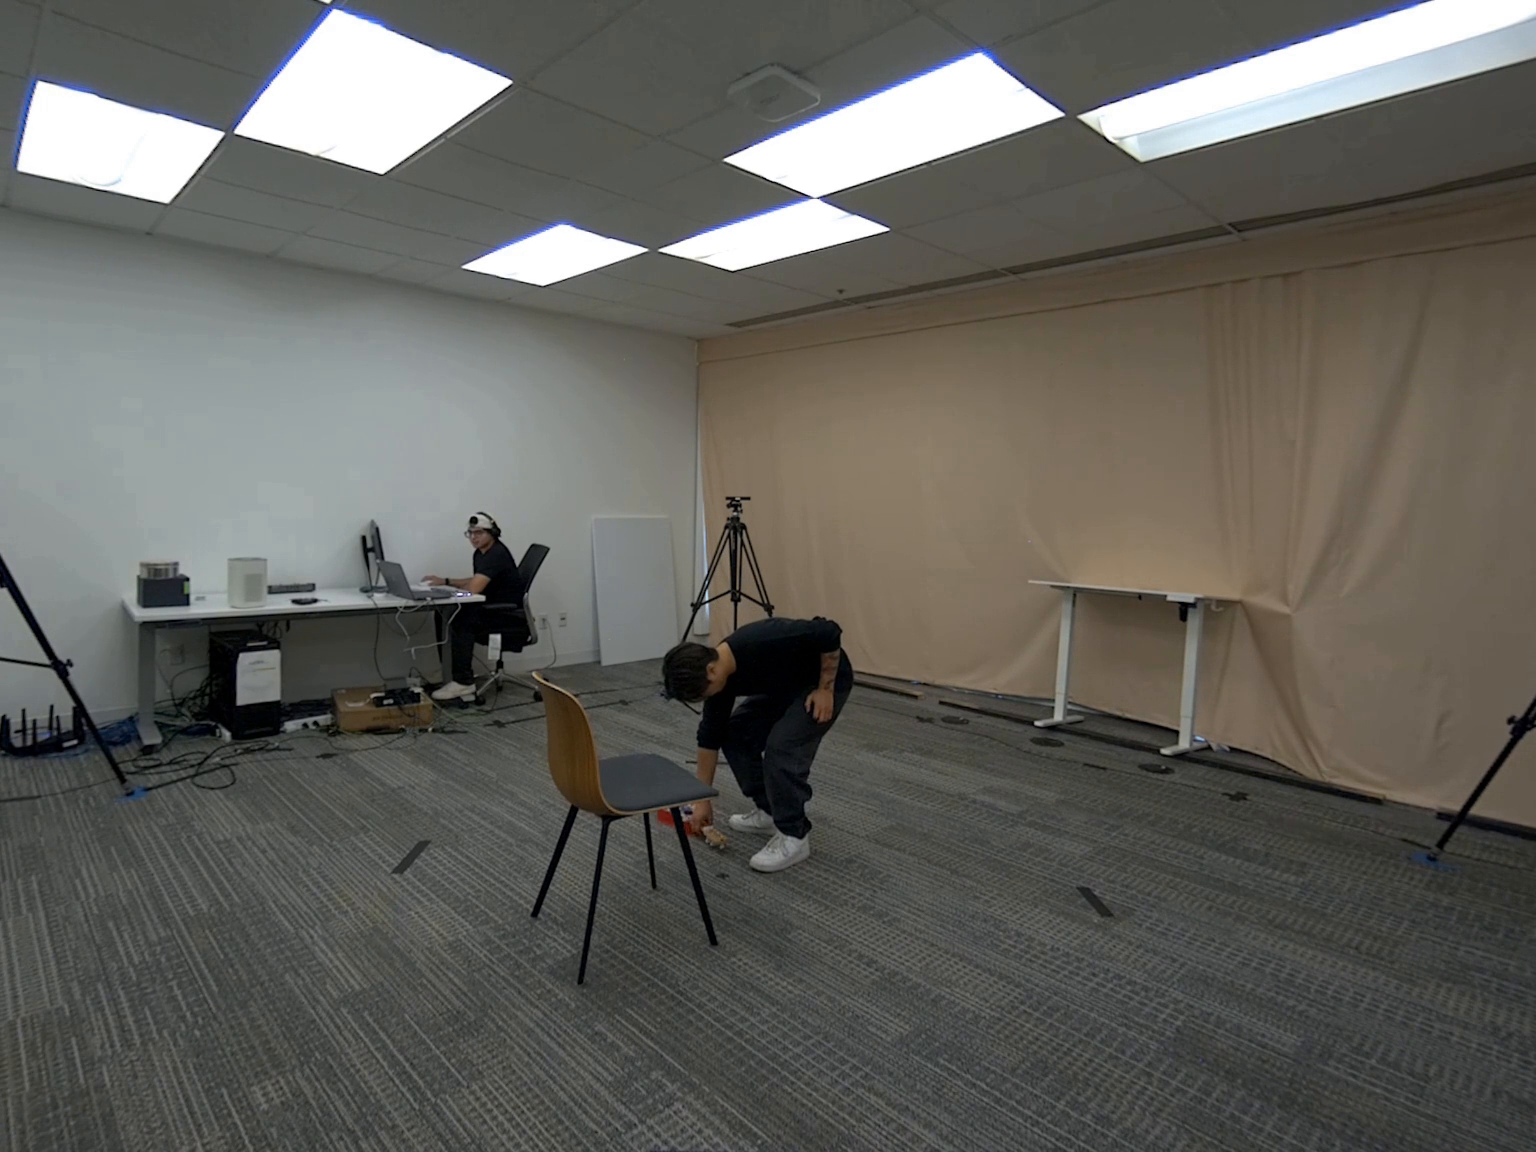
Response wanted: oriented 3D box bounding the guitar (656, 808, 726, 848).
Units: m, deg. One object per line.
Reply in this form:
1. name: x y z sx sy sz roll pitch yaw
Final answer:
1. guitar: -0.324 1.028 3.485 0.190 0.070 0.506 -1 5 -18
